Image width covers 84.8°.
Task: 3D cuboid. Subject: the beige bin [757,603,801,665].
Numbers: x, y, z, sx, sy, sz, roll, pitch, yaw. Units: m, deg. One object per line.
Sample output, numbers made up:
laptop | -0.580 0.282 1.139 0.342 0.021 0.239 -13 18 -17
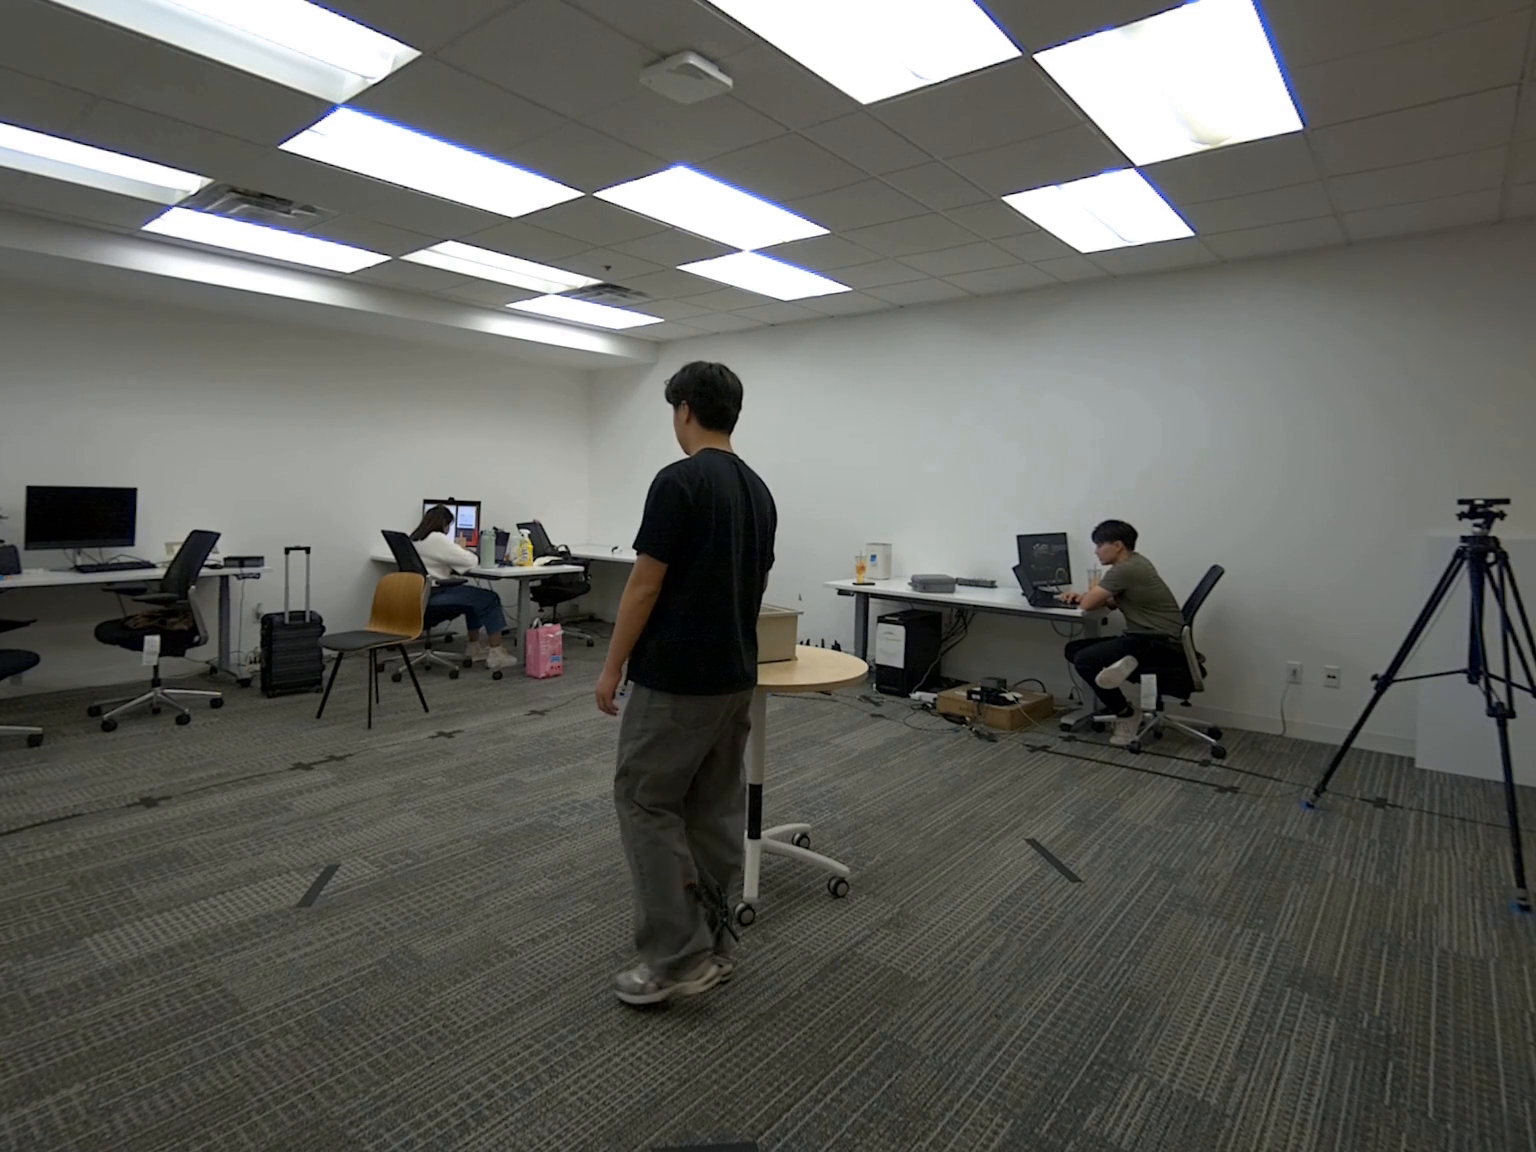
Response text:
beige bin | -0.160 0.200 3.089 0.410 0.188 0.390 -2 9 -33
